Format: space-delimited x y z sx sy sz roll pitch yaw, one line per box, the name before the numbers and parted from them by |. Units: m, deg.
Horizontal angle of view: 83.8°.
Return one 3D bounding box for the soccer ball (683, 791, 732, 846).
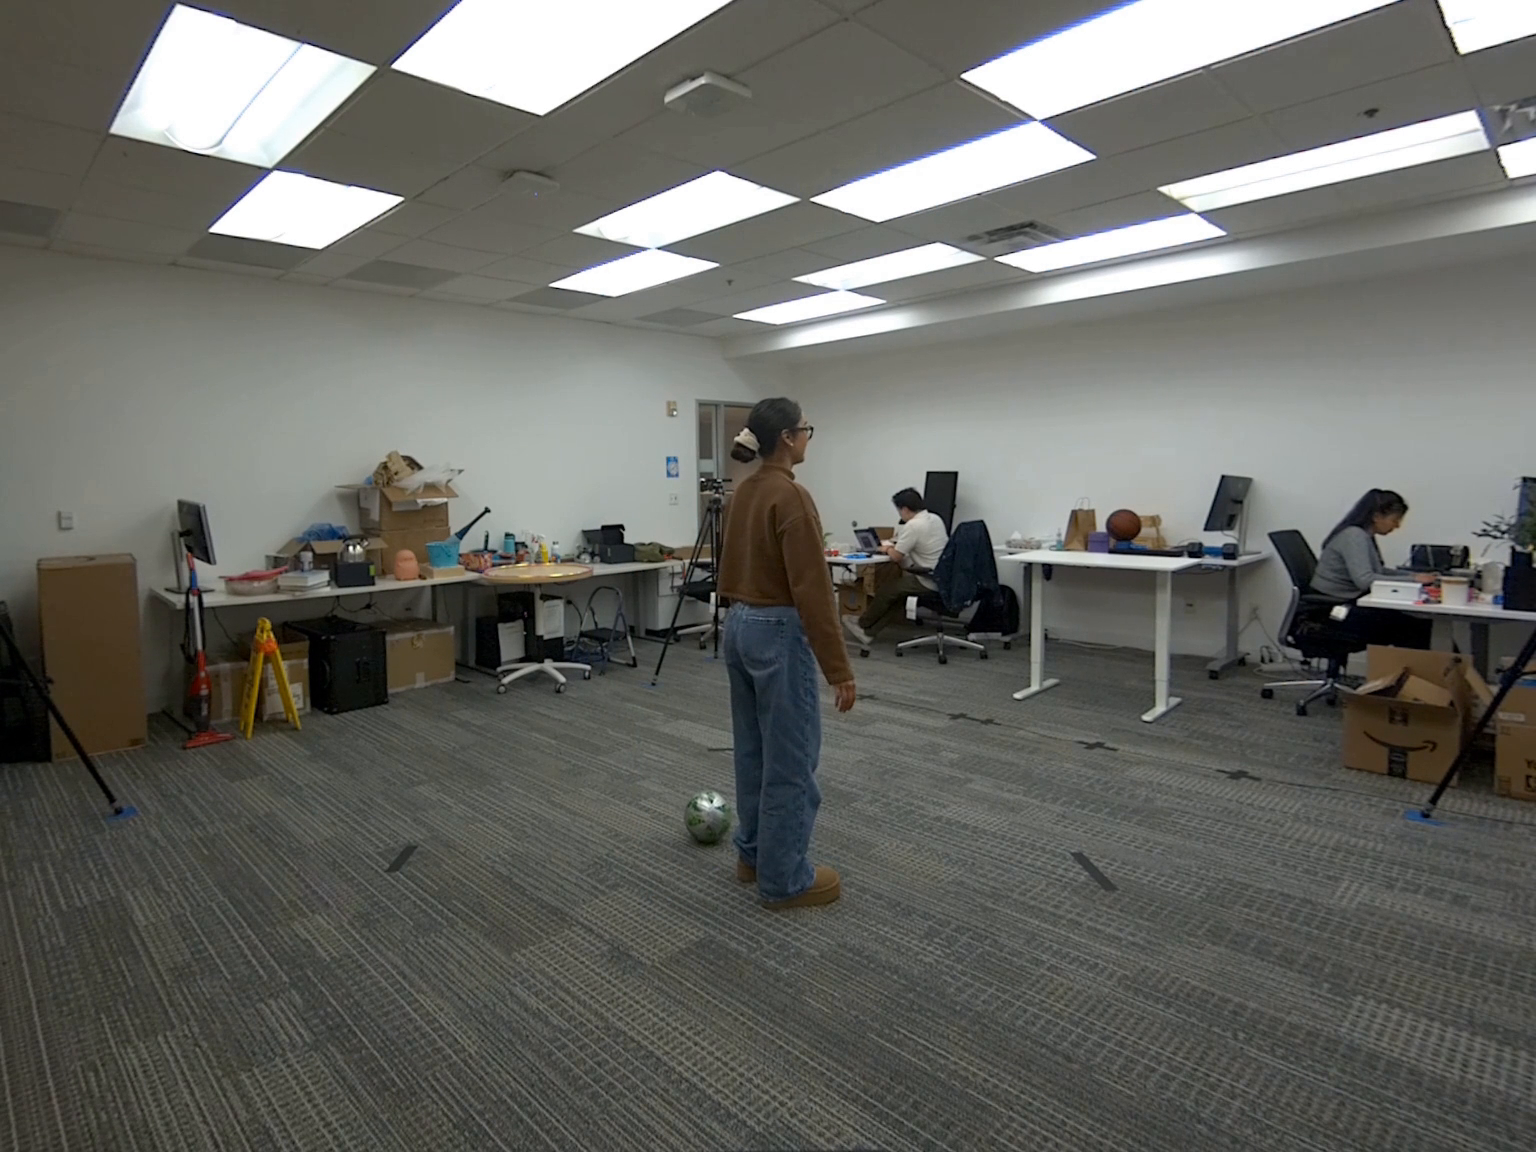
soccer ball | -0.228 0.926 3.306 0.187 0.187 0.188 -1 5 -2
